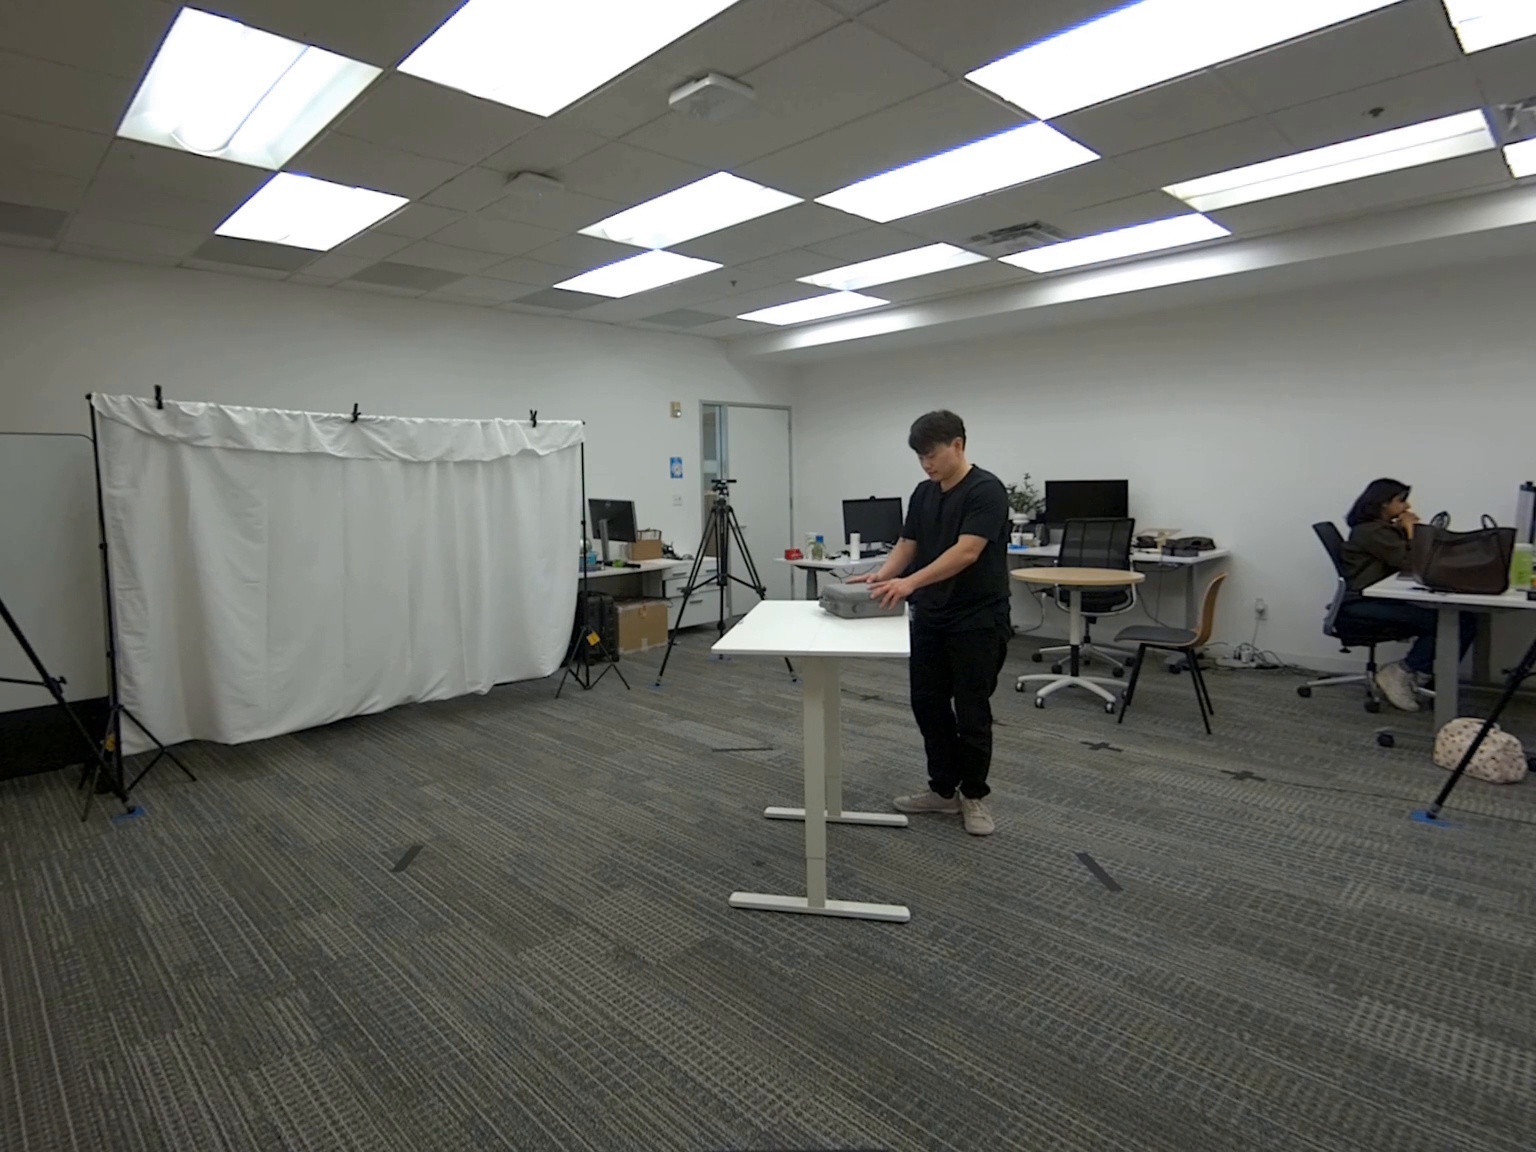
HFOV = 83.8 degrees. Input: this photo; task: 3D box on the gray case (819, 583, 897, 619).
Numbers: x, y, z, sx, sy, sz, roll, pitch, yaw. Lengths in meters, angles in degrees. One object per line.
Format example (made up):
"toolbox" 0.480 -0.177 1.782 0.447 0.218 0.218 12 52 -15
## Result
"gray case" 0.350 0.096 3.226 0.259 0.104 0.260 -1 8 -8
